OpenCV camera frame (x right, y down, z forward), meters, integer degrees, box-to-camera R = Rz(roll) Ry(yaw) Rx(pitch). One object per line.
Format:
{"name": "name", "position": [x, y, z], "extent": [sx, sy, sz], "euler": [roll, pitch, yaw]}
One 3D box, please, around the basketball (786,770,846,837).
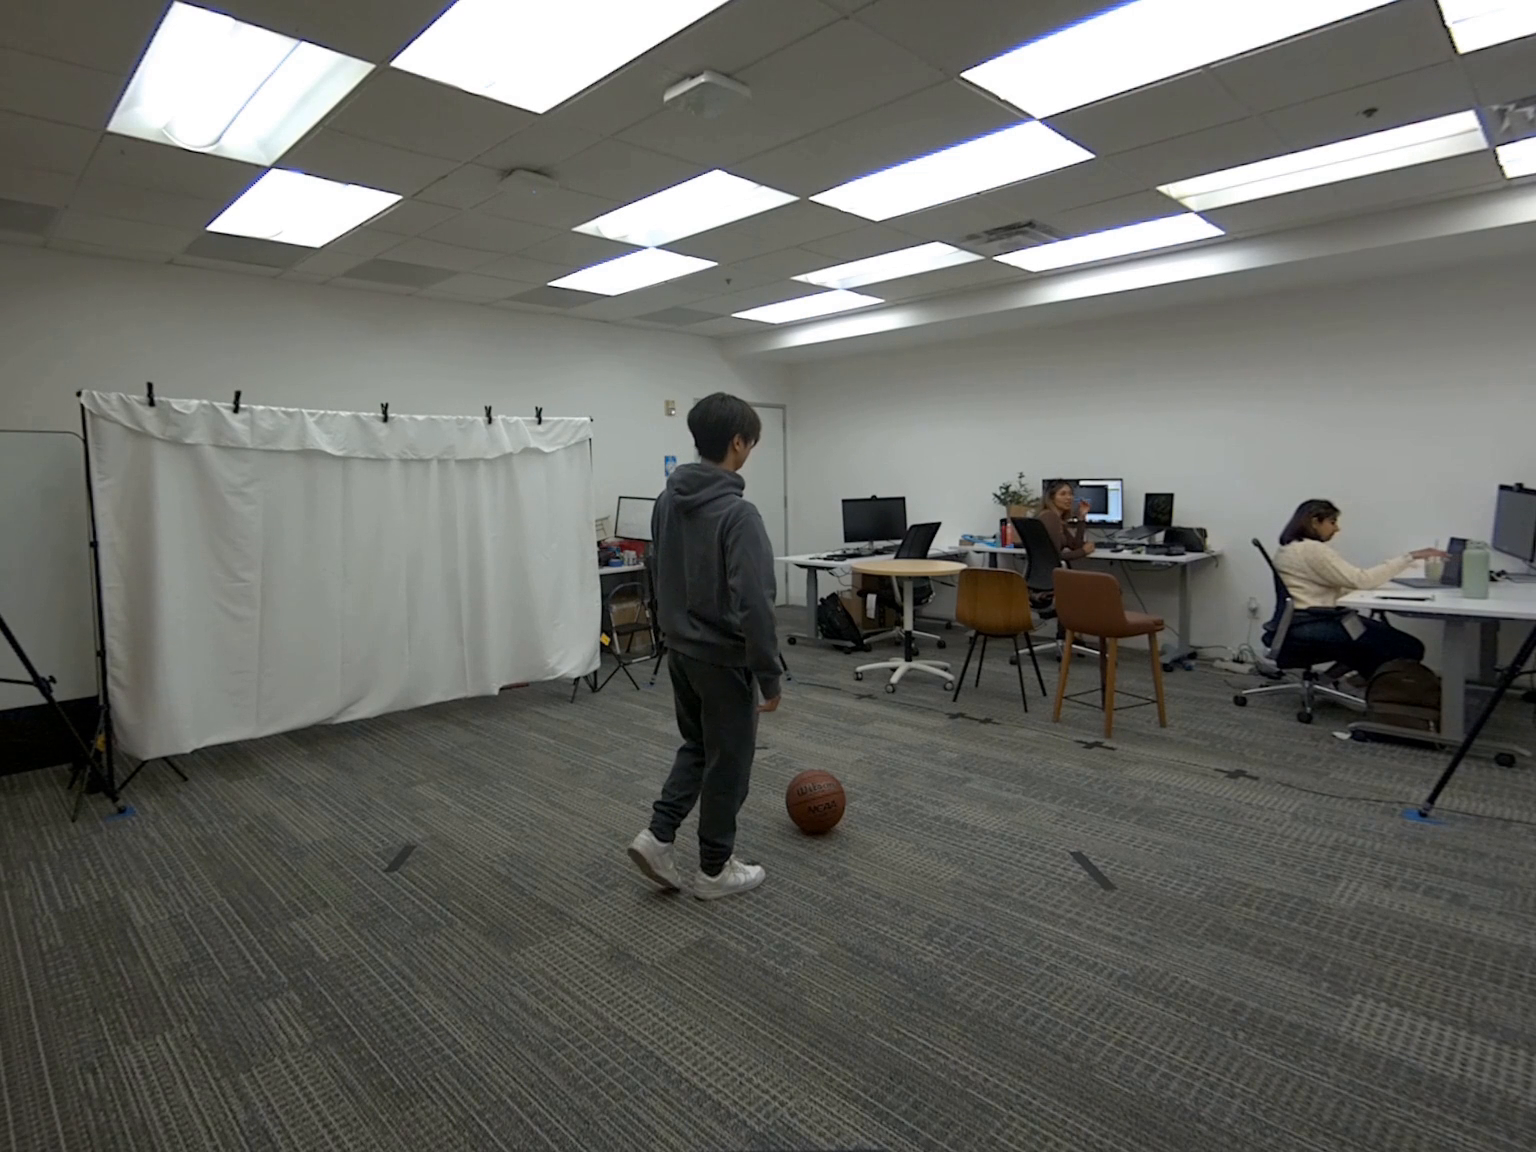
{"name": "basketball", "position": [0.187, 0.885, 3.379], "extent": [0.236, 0.235, 0.237], "euler": [-1, 5, -2]}
